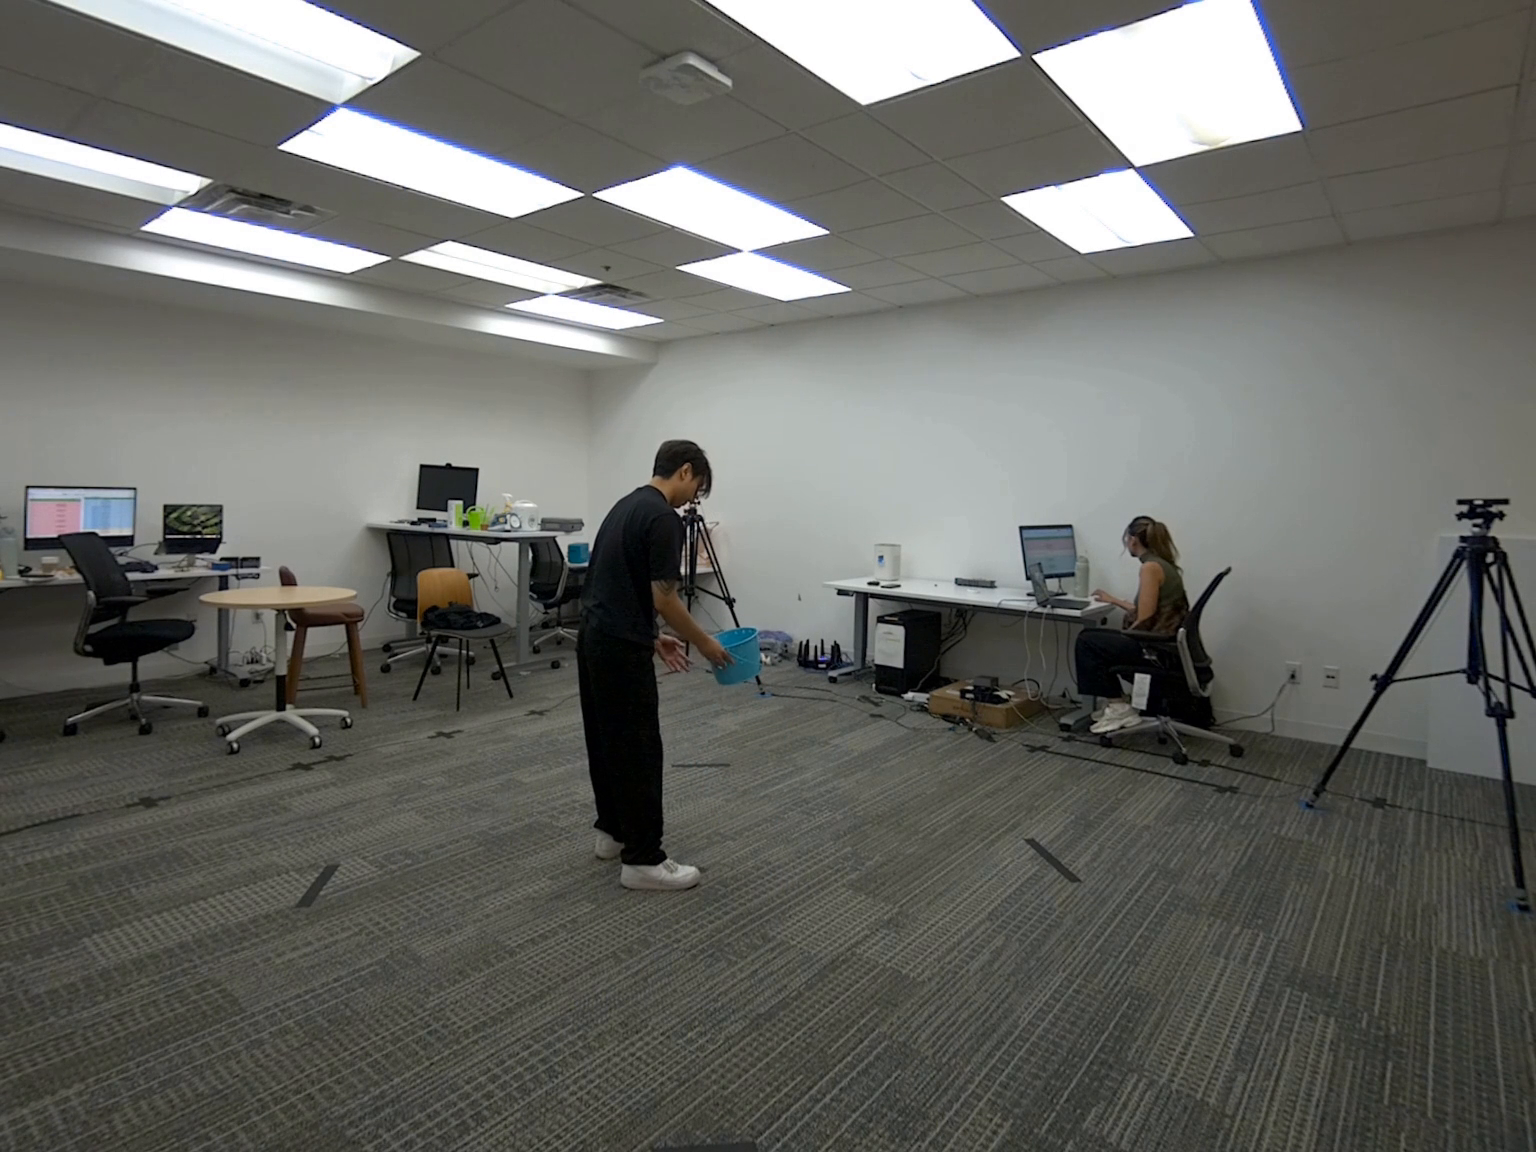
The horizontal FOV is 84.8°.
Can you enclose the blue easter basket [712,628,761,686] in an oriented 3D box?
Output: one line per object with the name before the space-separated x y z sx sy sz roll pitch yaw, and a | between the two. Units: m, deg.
blue easter basket | -0.140 0.310 3.257 0.244 0.154 0.246 -14 12 1
